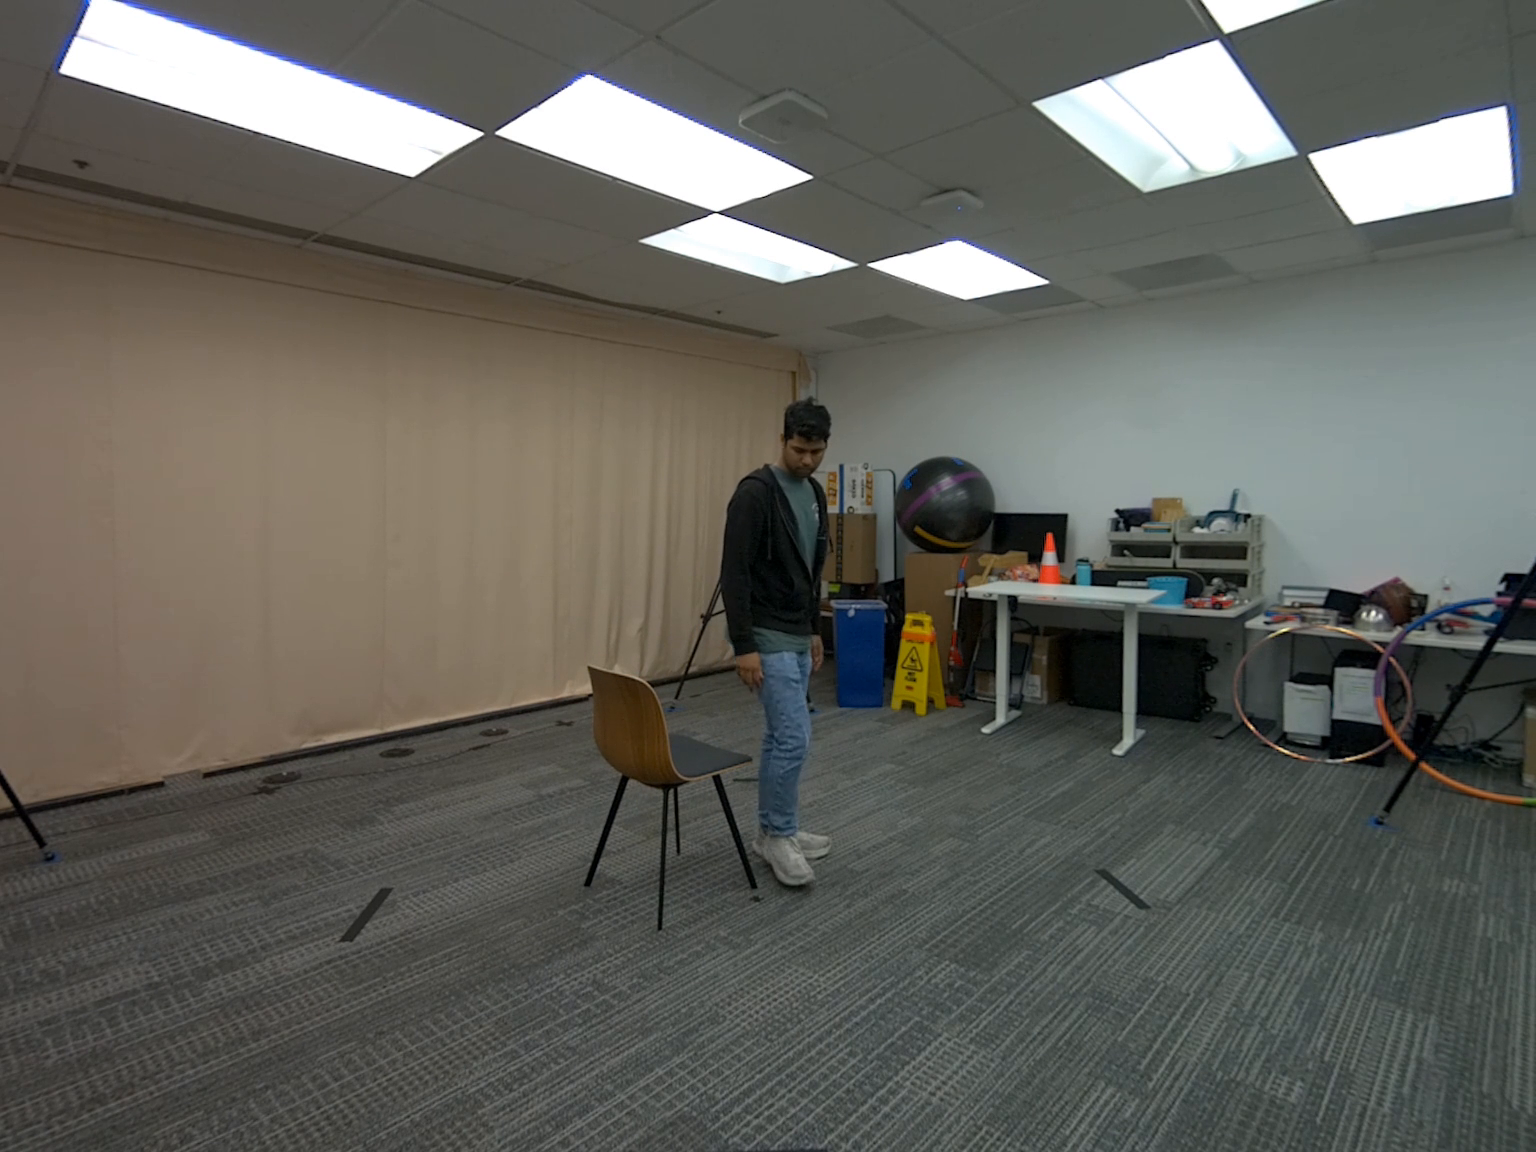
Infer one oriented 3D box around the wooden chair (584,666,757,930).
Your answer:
[{"bbox_3d":[-0.344,0.714,3.048,0.508,0.874,0.494,-9,8,-43],"label":"wooden chair"}]
